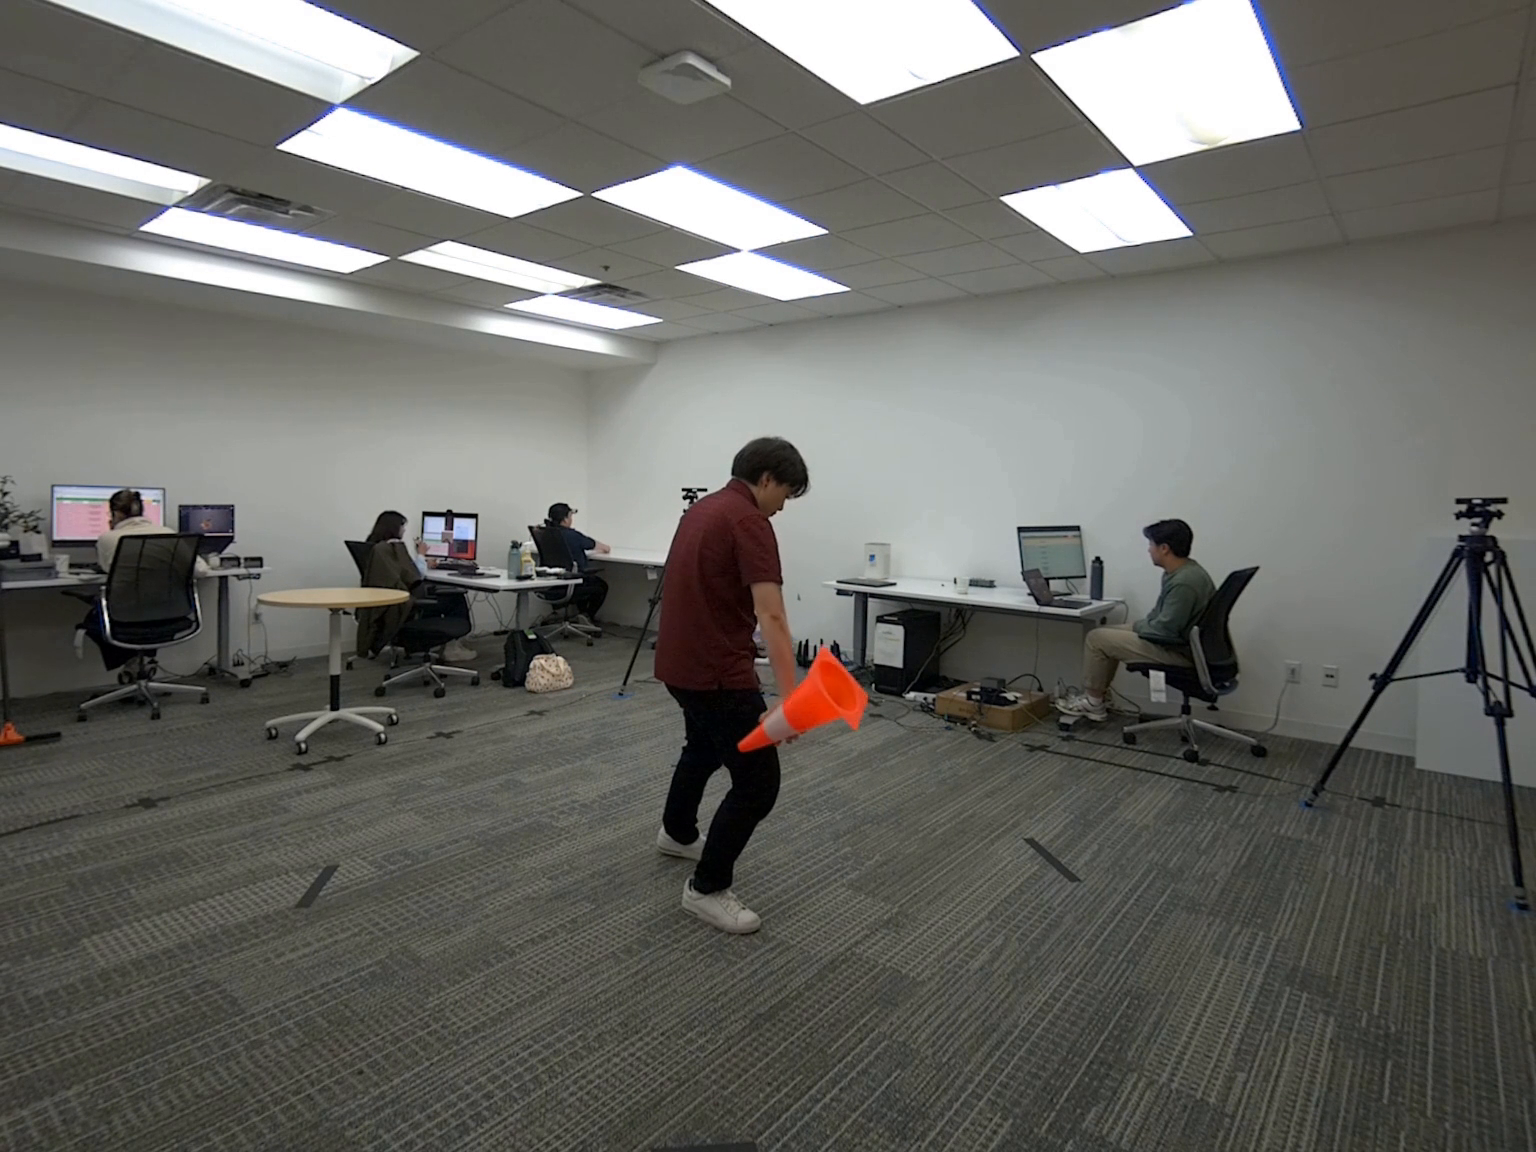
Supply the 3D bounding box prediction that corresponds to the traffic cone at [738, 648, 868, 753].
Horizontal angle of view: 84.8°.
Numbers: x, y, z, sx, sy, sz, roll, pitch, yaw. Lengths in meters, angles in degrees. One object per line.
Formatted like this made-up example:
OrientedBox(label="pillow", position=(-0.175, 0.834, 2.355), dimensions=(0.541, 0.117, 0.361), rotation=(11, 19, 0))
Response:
OrientedBox(label="traffic cone", position=(0.044, 0.405, 2.396), dimensions=(0.385, 0.204, 0.204), rotation=(-39, 0, 24))
